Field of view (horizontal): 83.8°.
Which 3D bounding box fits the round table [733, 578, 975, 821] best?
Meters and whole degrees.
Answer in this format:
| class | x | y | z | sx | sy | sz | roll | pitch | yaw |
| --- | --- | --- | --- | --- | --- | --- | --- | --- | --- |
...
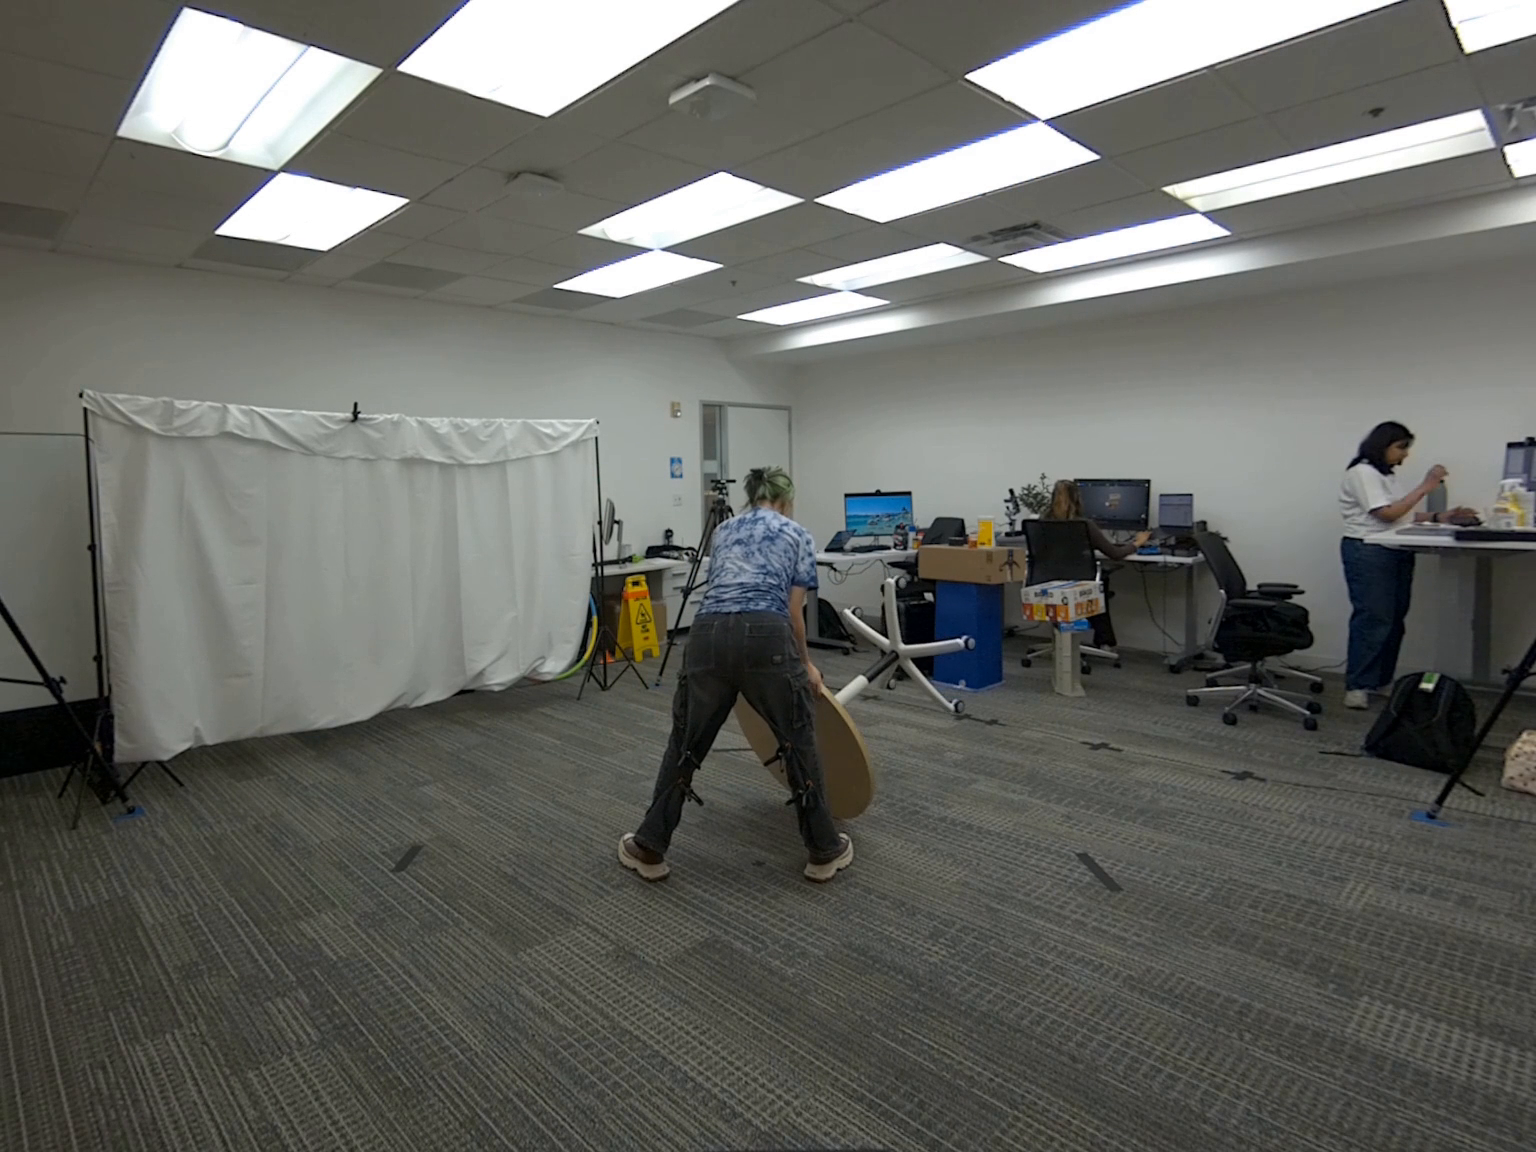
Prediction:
| class | x | y | z | sx | sy | sz | roll | pitch | yaw |
| --- | --- | --- | --- | --- | --- | --- | --- | --- | --- |
| round table | 0.393 | 0.476 | 3.667 | 0.786 | 0.749 | 0.787 | -32 | 22 | -33 |
